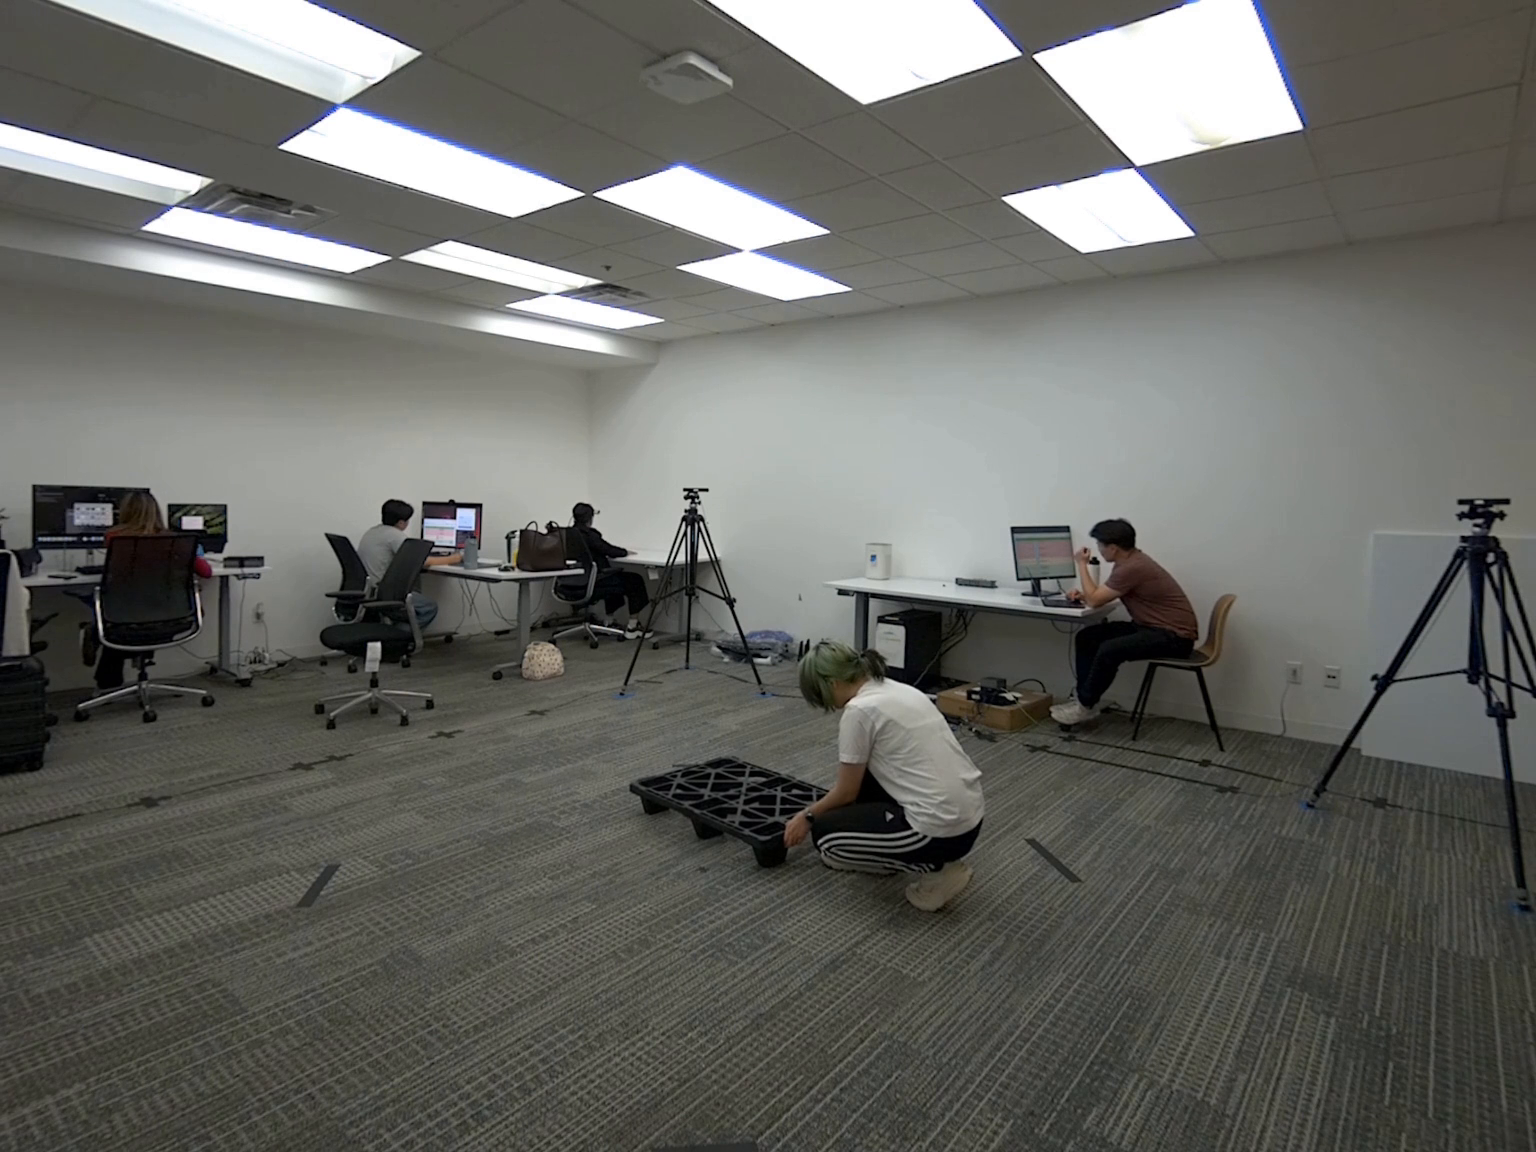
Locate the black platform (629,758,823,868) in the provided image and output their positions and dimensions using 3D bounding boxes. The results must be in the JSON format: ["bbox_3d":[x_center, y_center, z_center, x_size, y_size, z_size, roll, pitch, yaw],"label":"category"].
[{"bbox_3d":[-0.118,0.964,3.539,0.833,0.143,0.587,6,8,45],"label":"black platform"}]
